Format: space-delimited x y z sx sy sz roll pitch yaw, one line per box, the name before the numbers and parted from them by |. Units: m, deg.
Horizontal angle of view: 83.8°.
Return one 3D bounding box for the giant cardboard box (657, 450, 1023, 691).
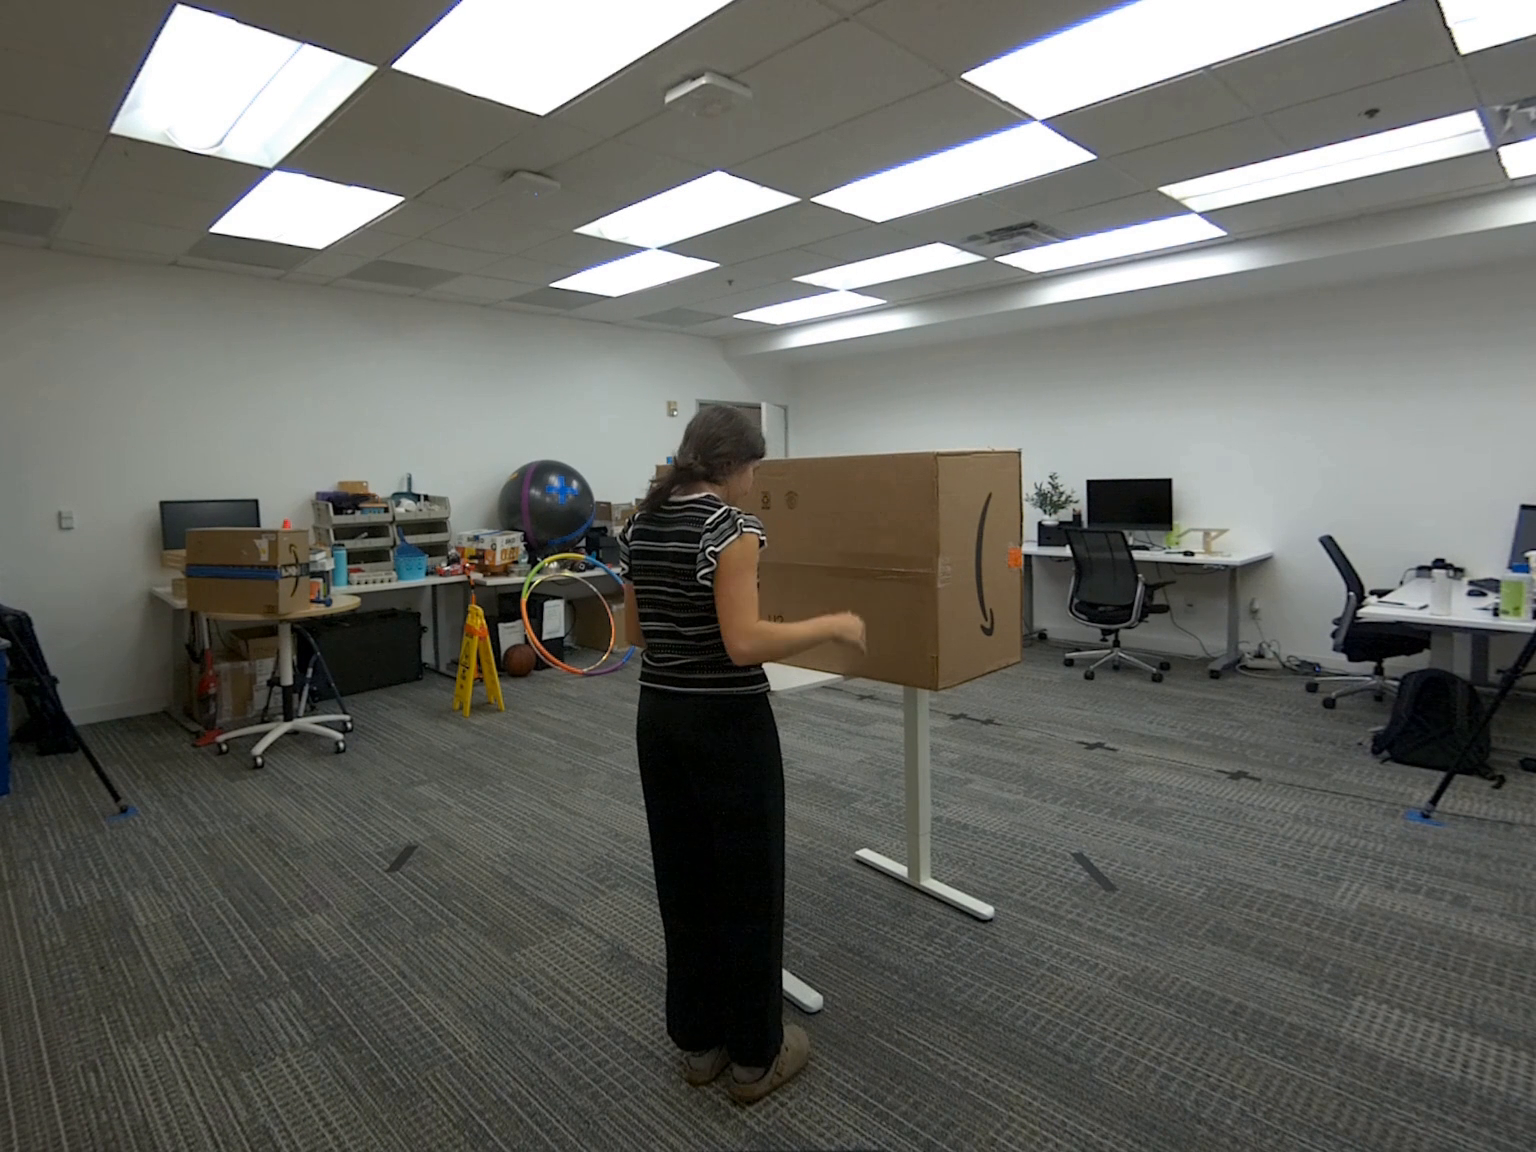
giant cardboard box | 0.171 -0.062 2.517 1.057 0.575 0.415 4 7 44
